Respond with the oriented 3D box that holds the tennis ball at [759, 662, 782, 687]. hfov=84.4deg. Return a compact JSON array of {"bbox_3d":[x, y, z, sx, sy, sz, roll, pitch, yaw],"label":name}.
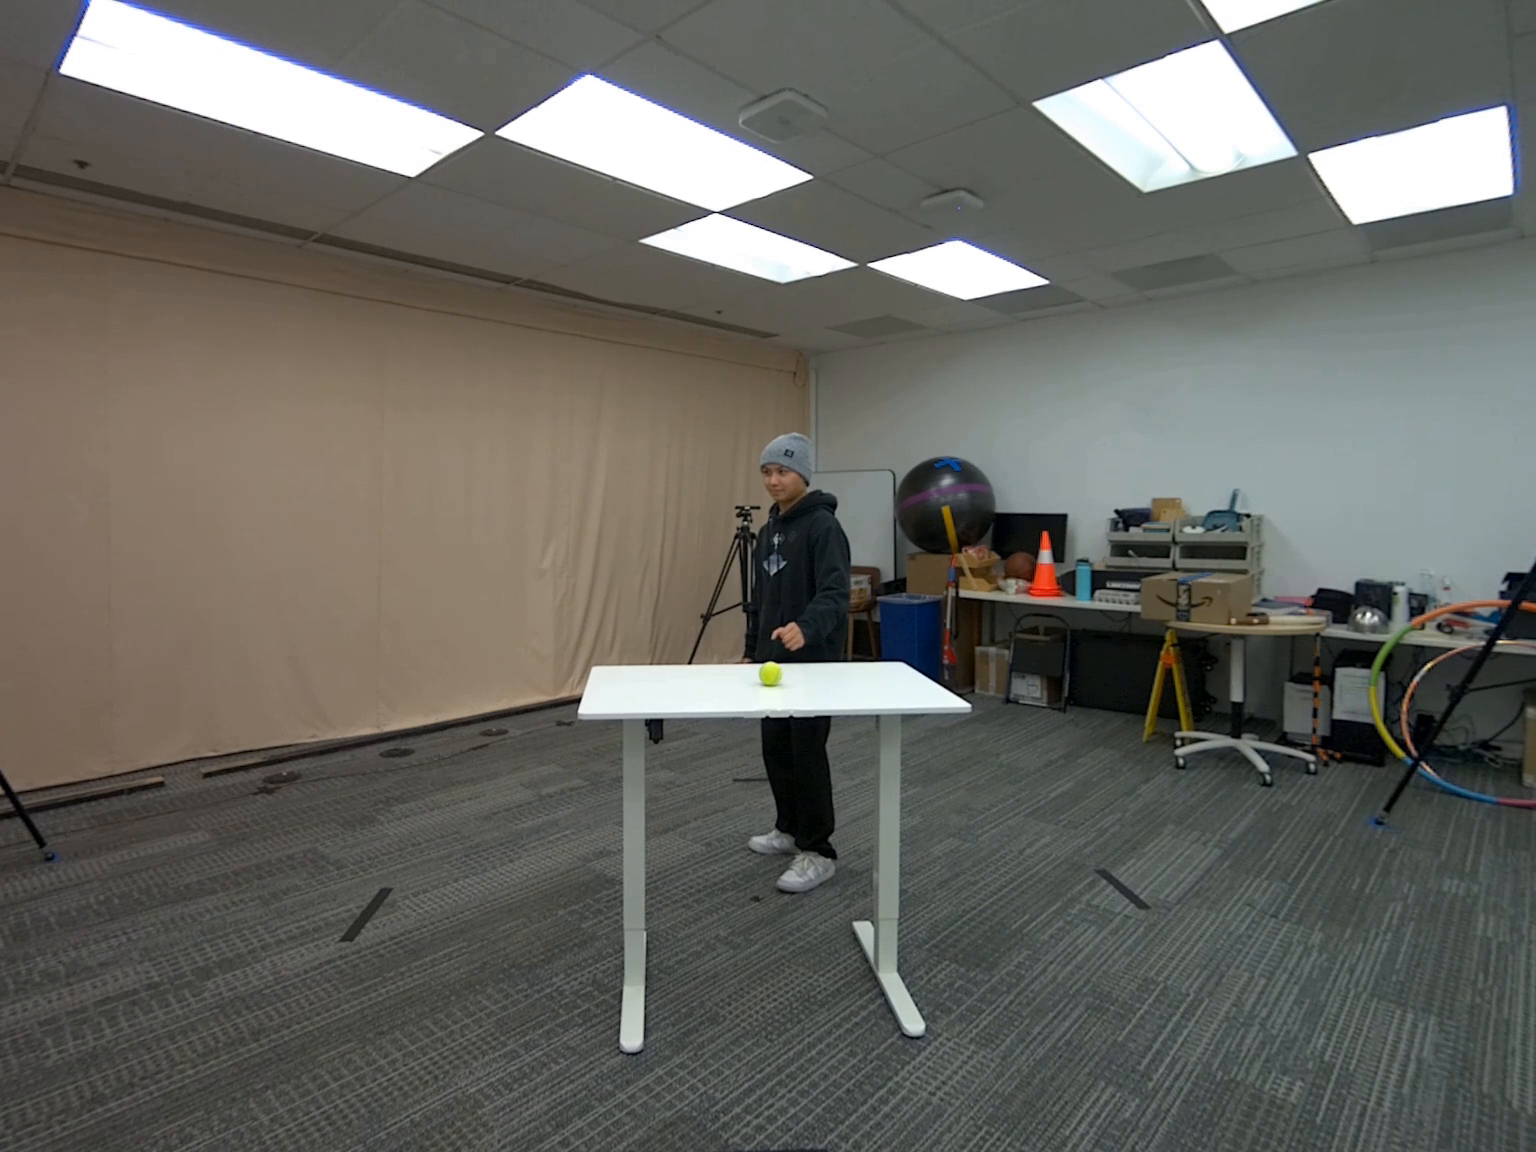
[{"bbox_3d":[0.010,0.278,2.404,0.066,0.066,0.067,0,4,-2],"label":"tennis ball"}]
